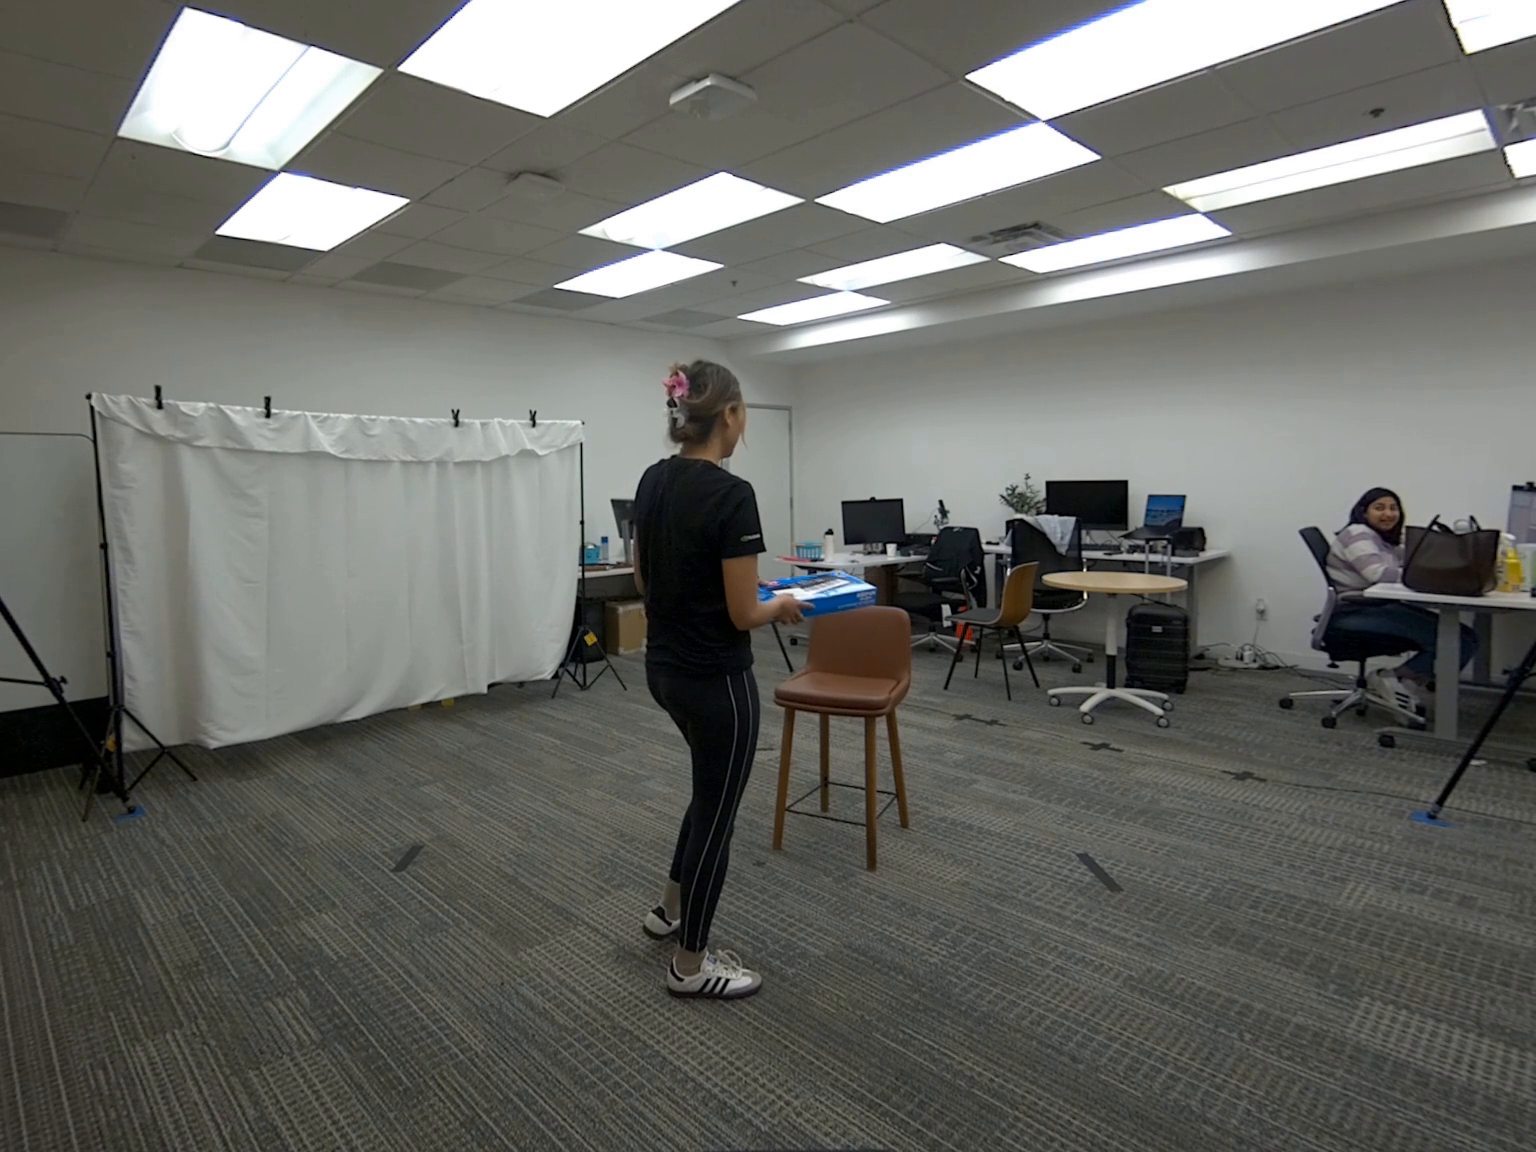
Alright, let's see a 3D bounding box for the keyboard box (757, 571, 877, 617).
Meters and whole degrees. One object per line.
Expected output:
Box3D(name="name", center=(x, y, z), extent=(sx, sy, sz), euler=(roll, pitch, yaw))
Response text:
Box3D(name="keyboard box", center=(0.112, 0.063, 2.575), extent=(0.427, 0.058, 0.182), euler=(-9, 23, -33))
